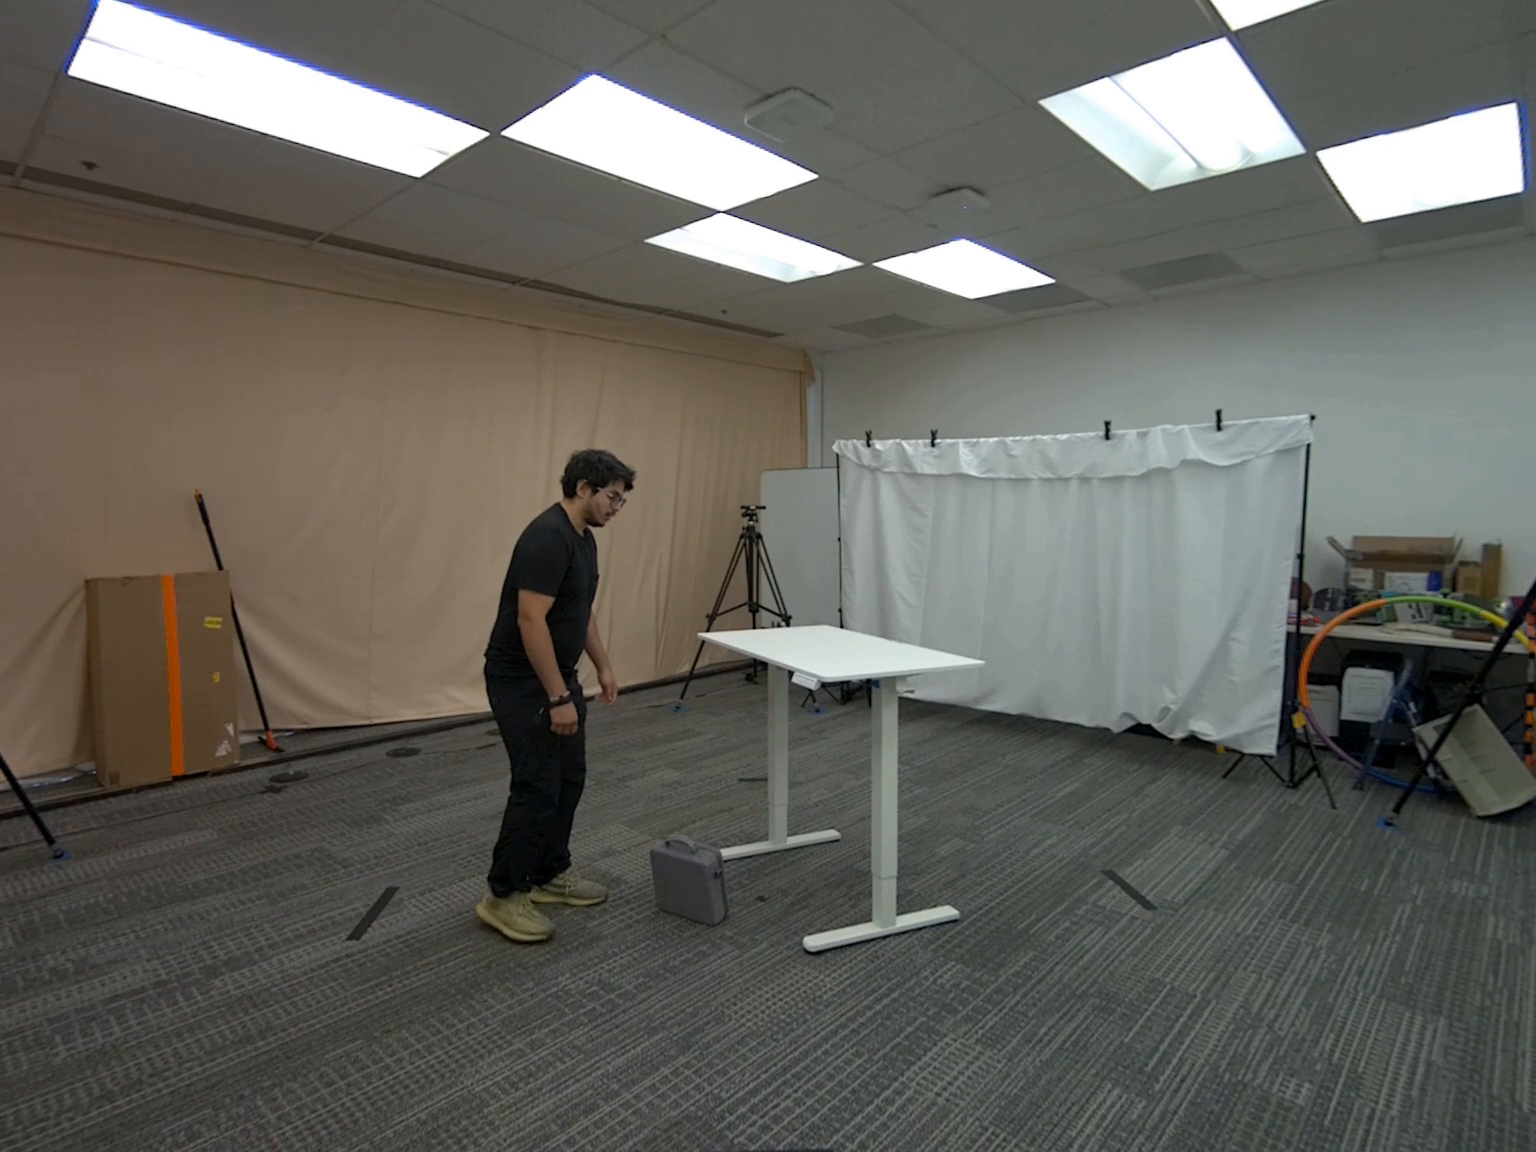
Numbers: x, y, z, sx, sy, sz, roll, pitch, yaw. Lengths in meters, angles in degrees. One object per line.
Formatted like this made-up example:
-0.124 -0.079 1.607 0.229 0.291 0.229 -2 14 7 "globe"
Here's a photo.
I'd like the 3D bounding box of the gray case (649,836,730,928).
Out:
-0.259 1.029 2.849 0.264 0.258 0.102 4 13 31 "gray case"
